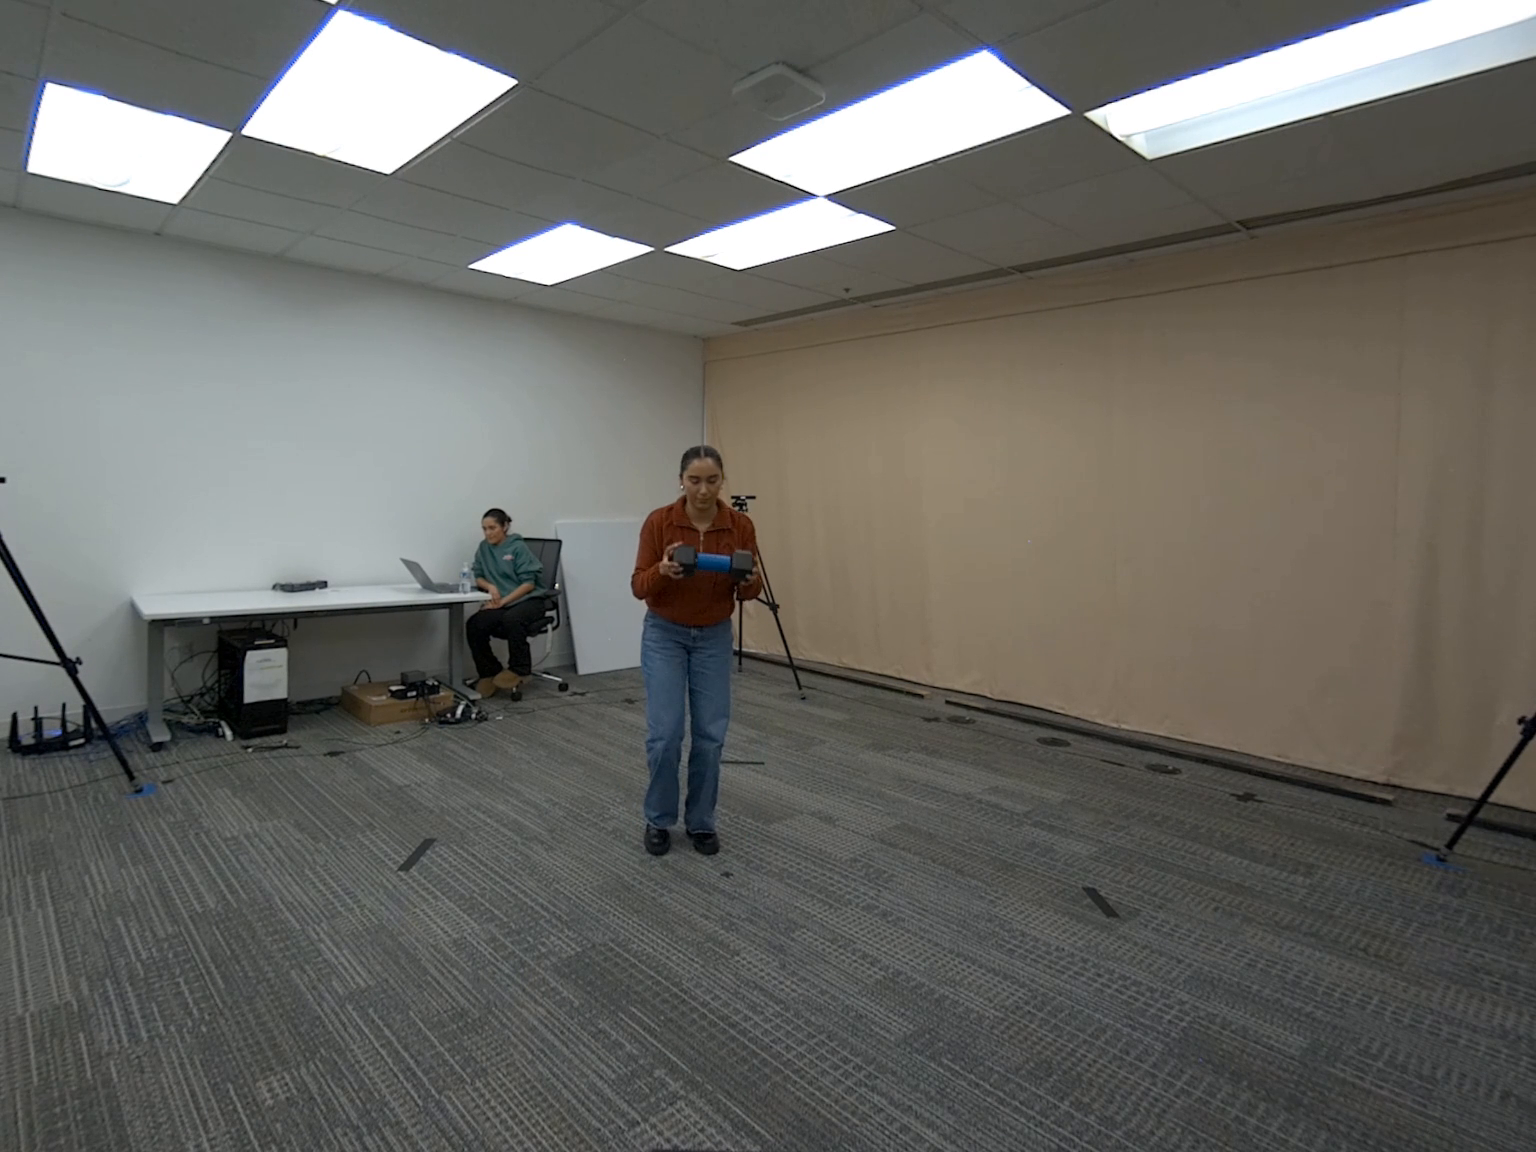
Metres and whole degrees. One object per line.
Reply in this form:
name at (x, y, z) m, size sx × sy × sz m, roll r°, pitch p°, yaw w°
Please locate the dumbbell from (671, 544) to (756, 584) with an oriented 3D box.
dumbbell at (-0.232, -0.034, 3.050) m, size 0.291 × 0.121 × 0.111 m, roll 6°, pitch 42°, yaw -10°
